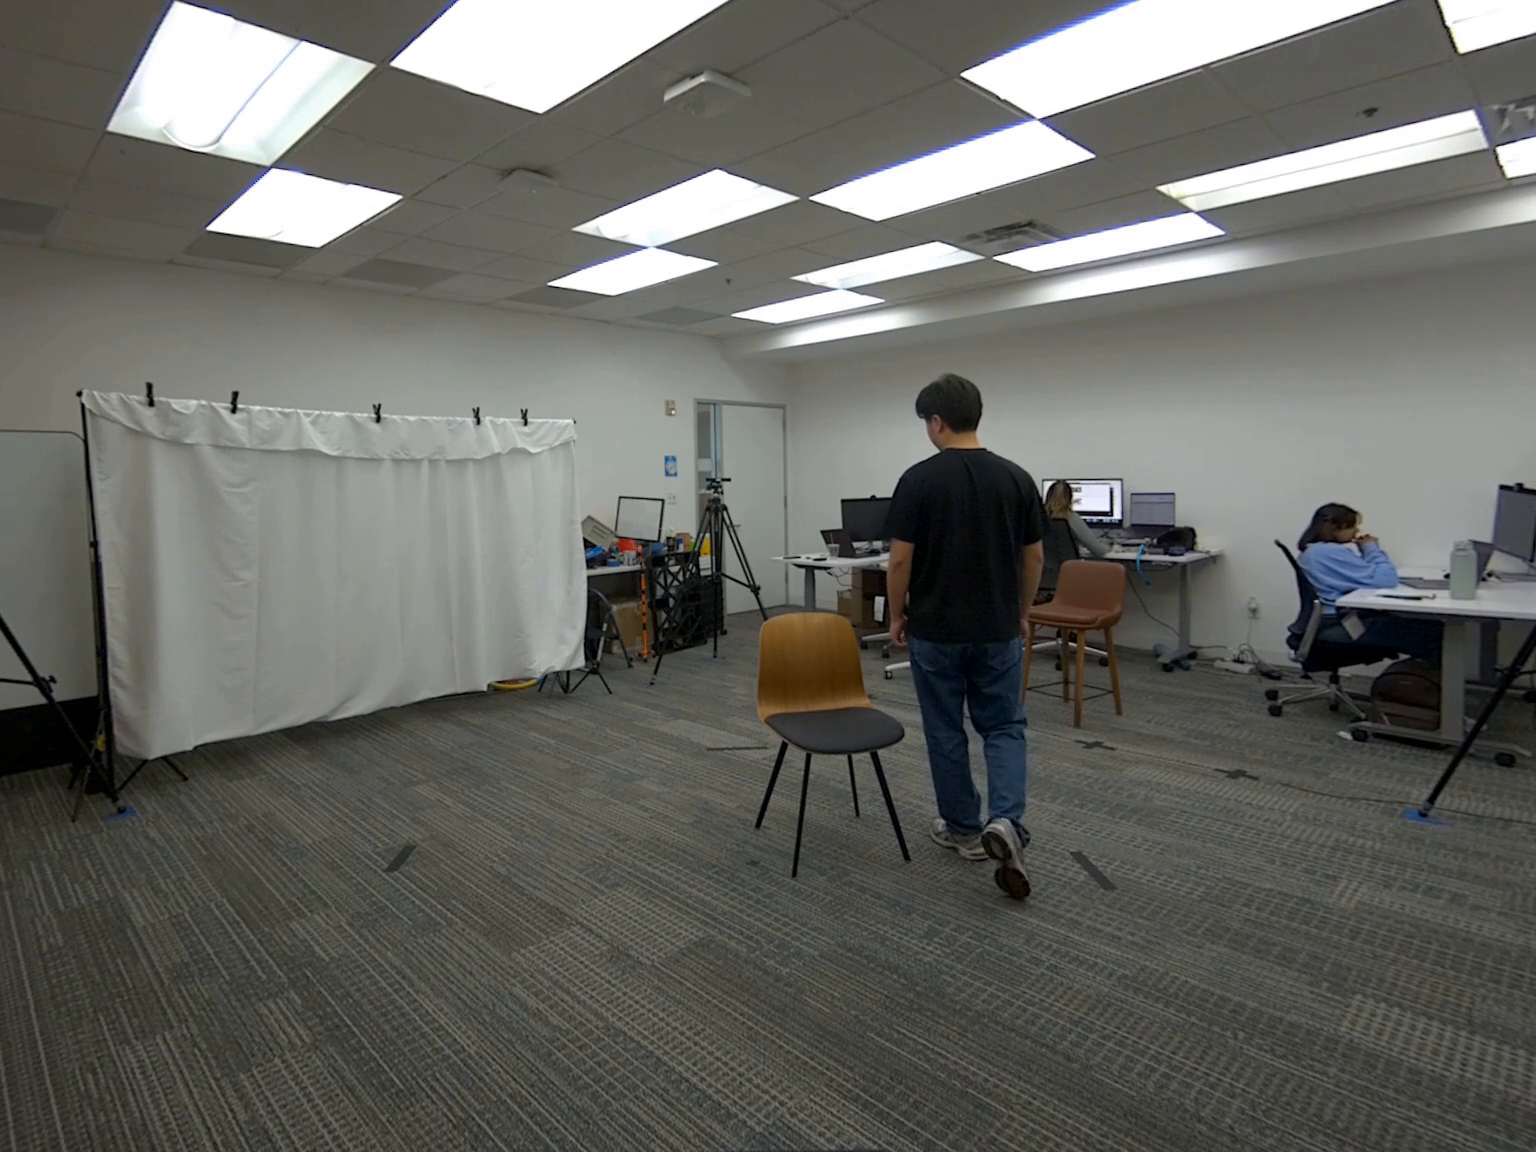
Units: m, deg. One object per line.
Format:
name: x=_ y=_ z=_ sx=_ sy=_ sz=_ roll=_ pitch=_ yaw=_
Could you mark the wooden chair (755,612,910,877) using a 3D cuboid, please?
wooden chair: x=0.230 y=0.596 z=3.217 sx=0.471 sy=0.877 sz=0.531 roll=-2 pitch=1 yaw=-17
